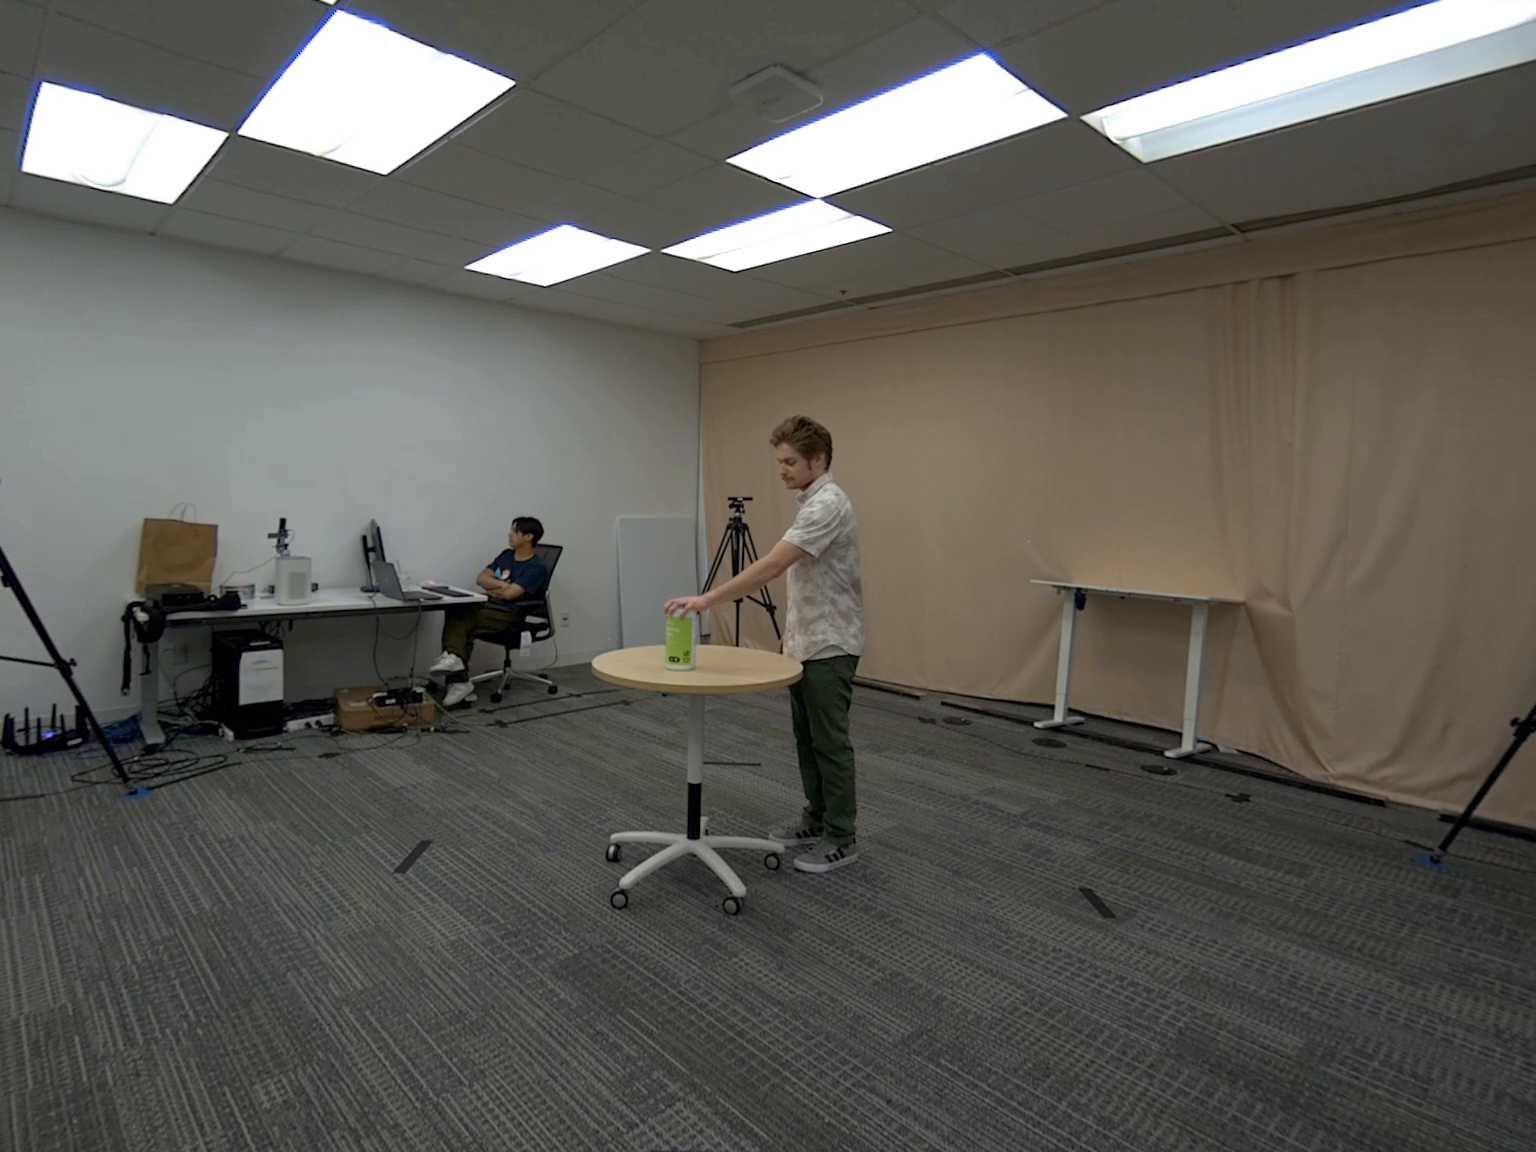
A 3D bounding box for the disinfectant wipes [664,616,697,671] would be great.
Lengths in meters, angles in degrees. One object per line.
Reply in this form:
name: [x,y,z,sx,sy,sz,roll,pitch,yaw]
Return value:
disinfectant wipes: [-0.311,0.220,2.957,0.118,0.216,0.118,1,5,-1]
